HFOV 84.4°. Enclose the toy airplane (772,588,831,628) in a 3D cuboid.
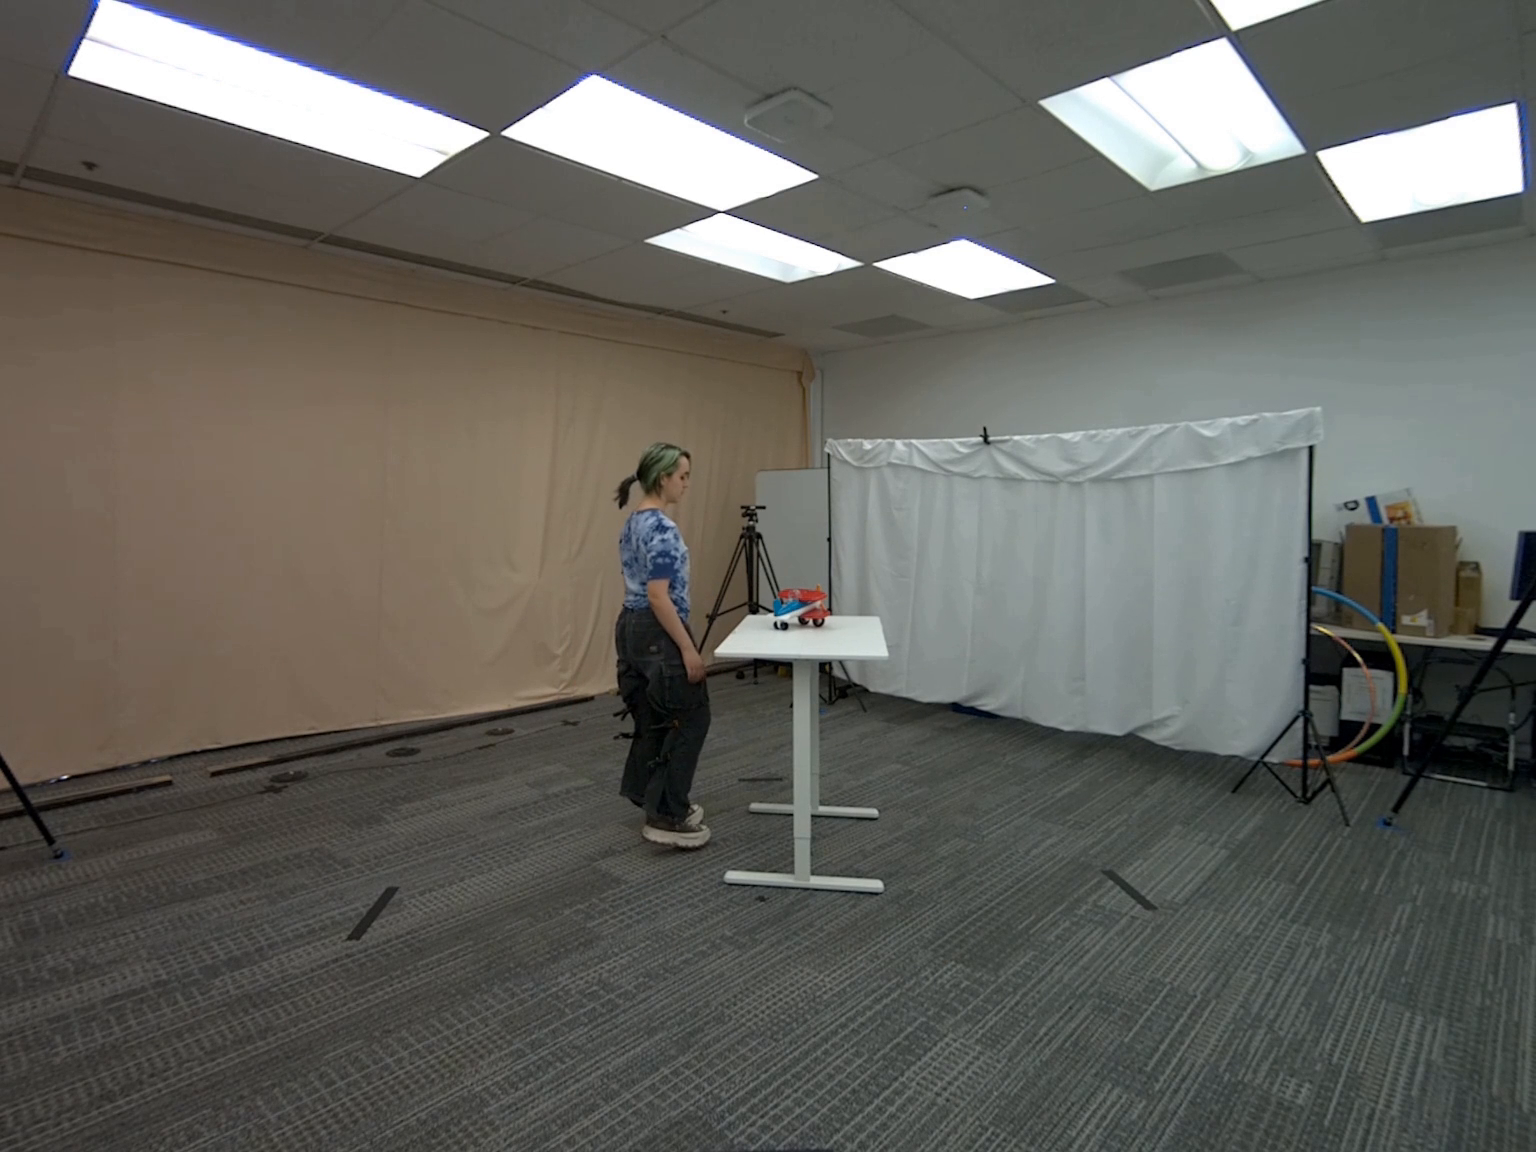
[{"bbox_3d":[0.138,0.141,3.513,0.257,0.156,0.254,1,4,21],"label":"toy airplane"}]
